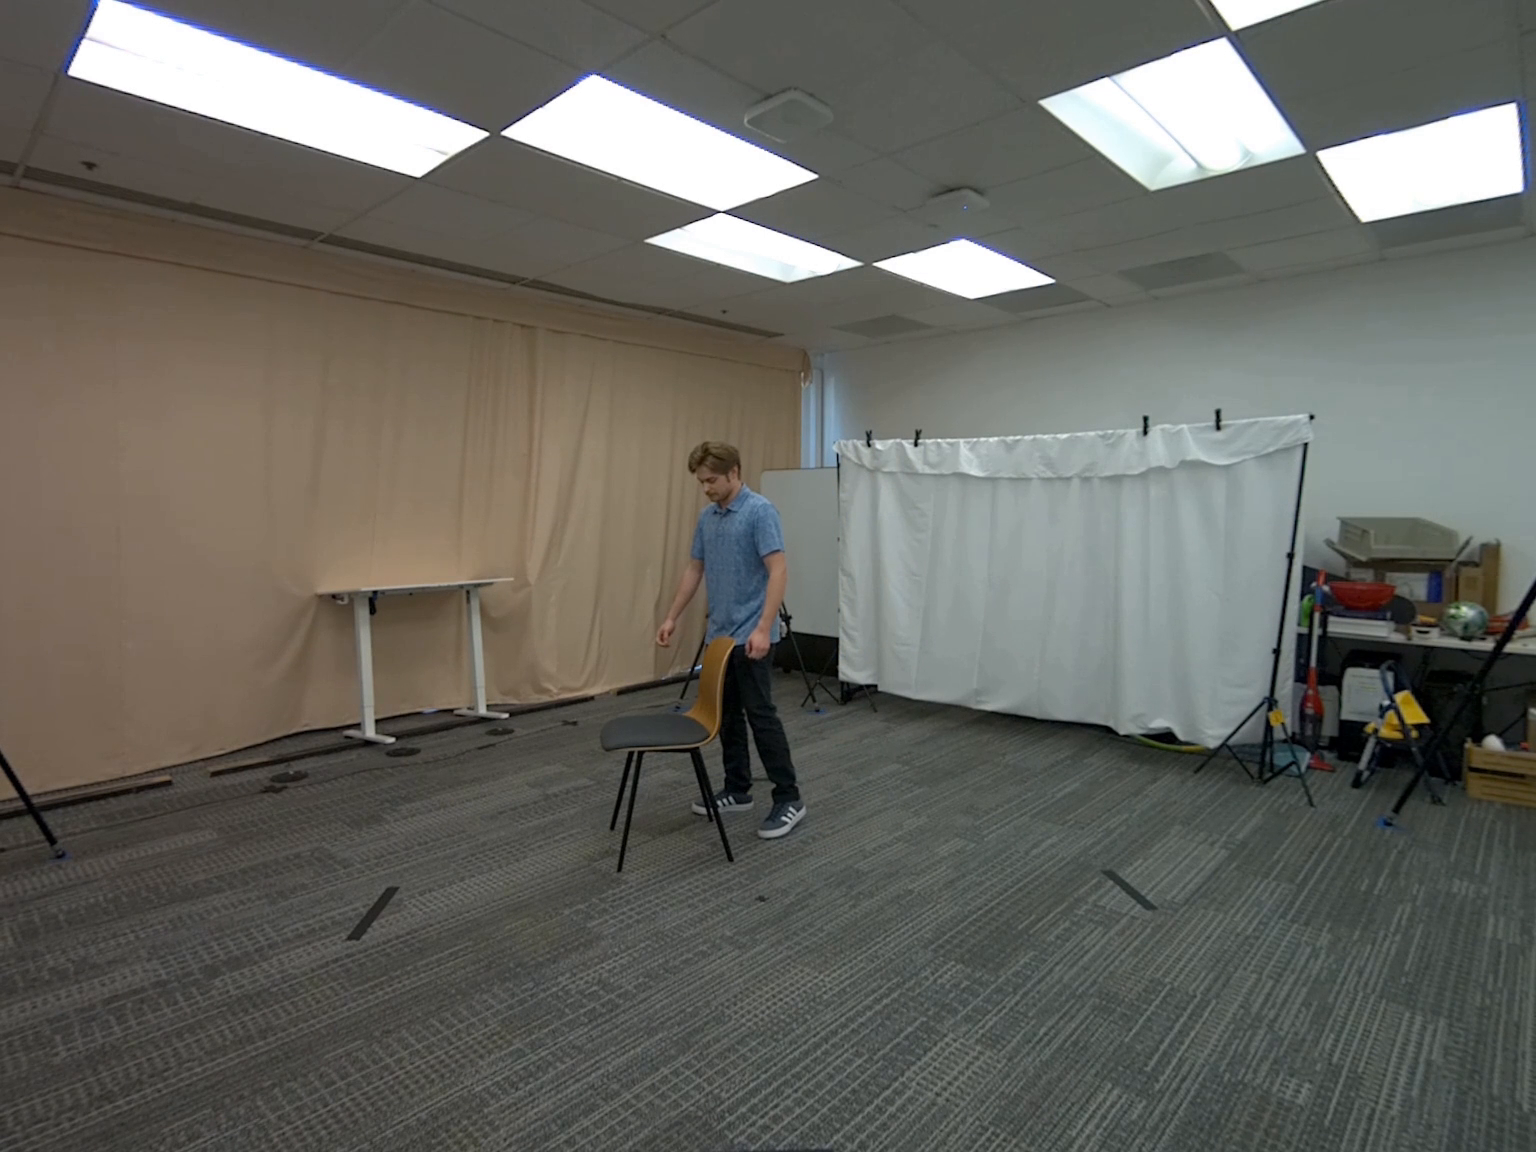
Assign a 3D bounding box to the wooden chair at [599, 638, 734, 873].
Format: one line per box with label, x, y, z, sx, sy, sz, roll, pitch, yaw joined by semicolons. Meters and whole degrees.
wooden chair;-0.421;0.680;3.427;0.516;0.876;0.486;3;3;-13
